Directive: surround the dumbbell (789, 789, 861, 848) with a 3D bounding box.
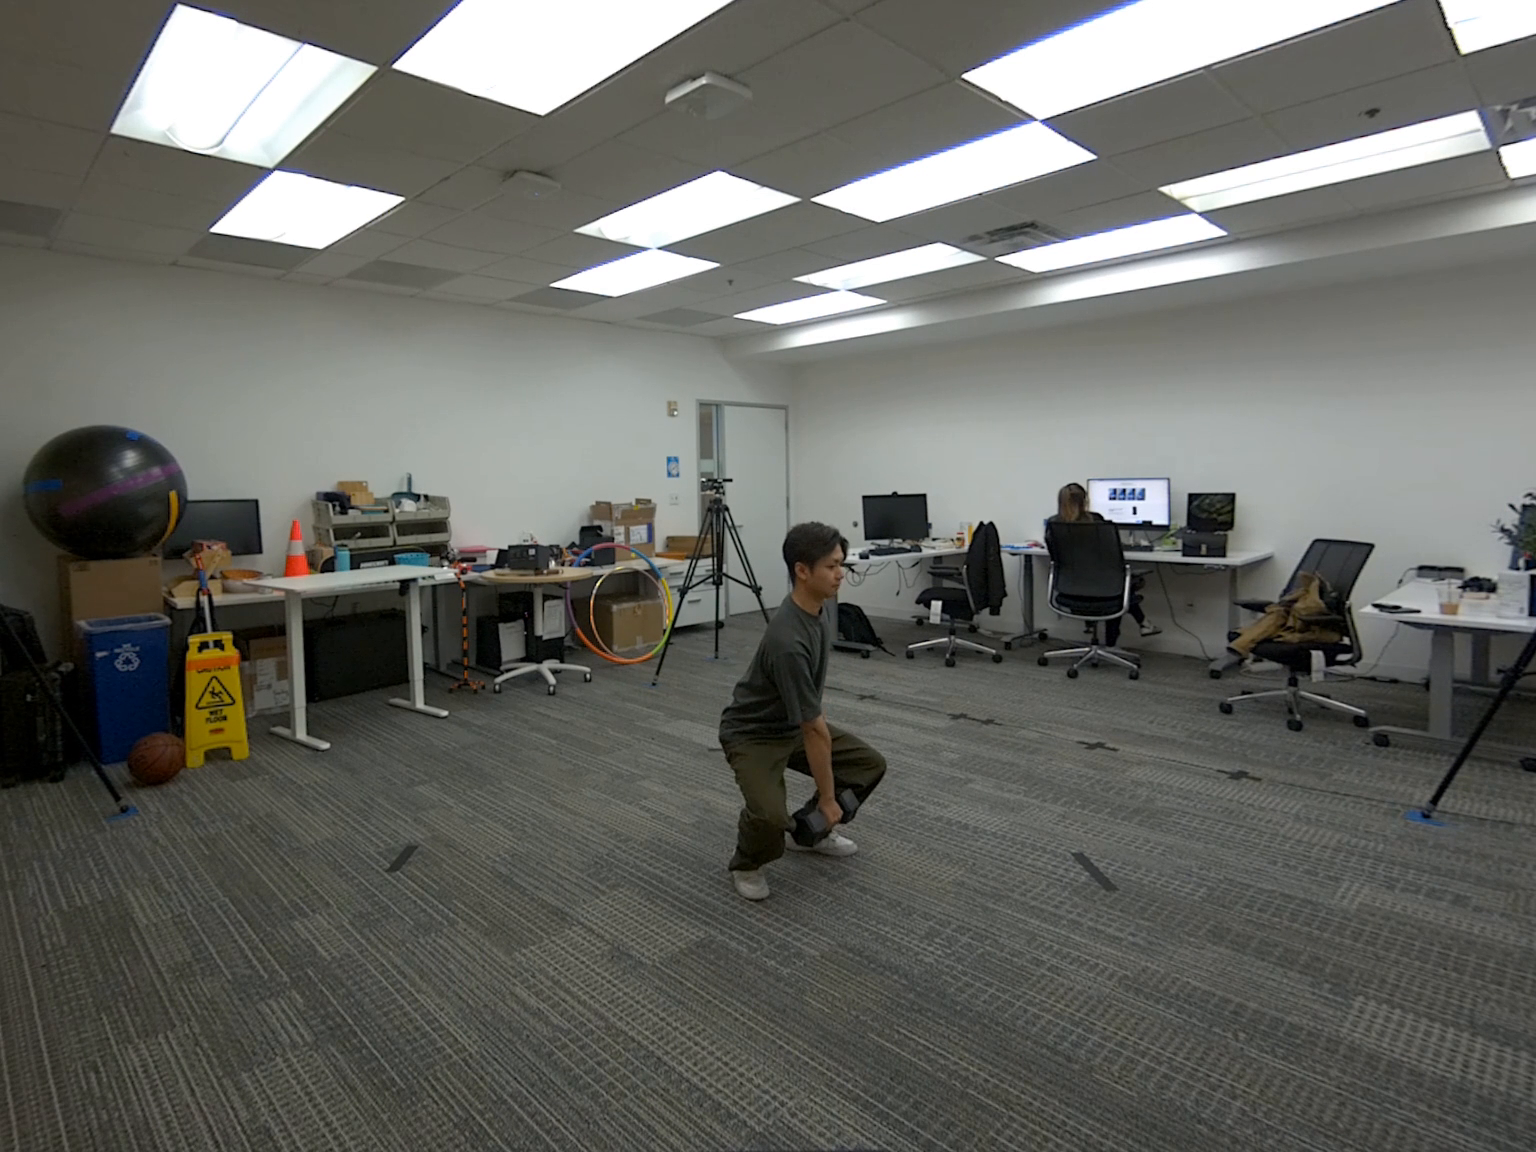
[{"bbox_3d":[0.188,0.816,2.913,0.112,0.121,0.287,29,24,30],"label":"dumbbell"}]
